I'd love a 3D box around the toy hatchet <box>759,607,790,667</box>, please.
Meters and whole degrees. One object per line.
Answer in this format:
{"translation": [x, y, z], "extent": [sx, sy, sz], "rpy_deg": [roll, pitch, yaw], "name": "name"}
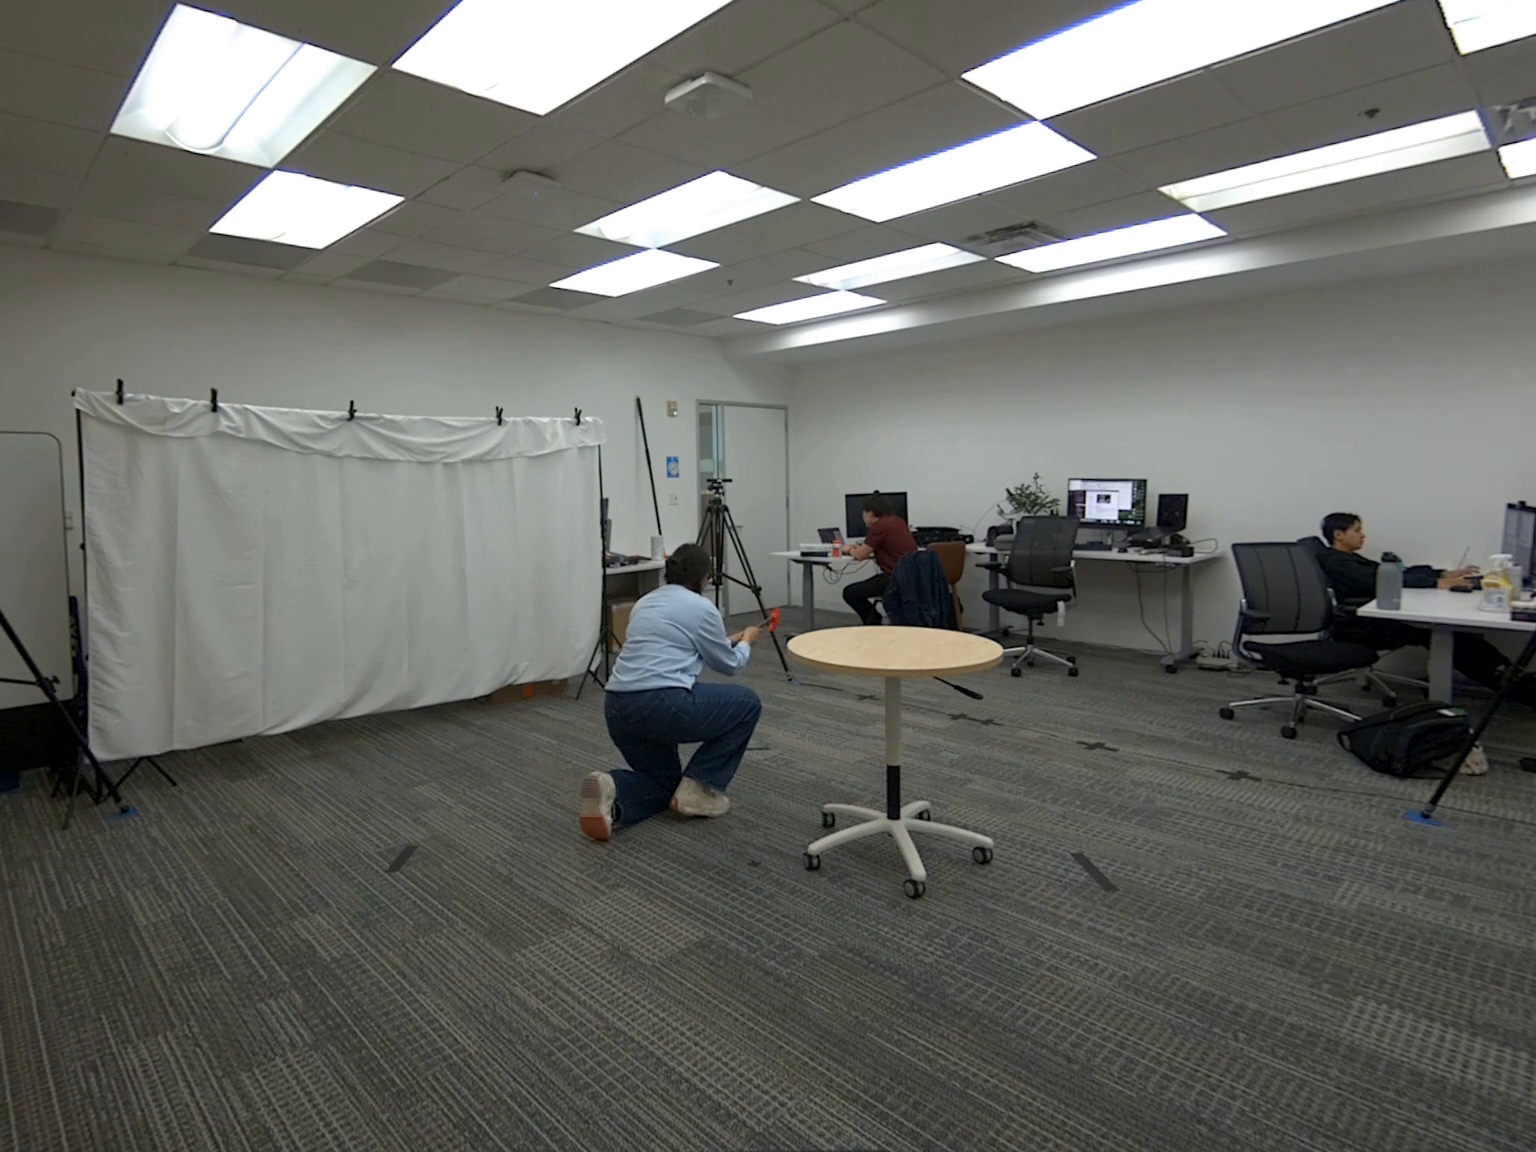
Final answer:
{"translation": [-0.031, 0.264, 4.105], "extent": [0.030, 0.127, 0.269], "rpy_deg": [31, 57, 31], "name": "toy hatchet"}
